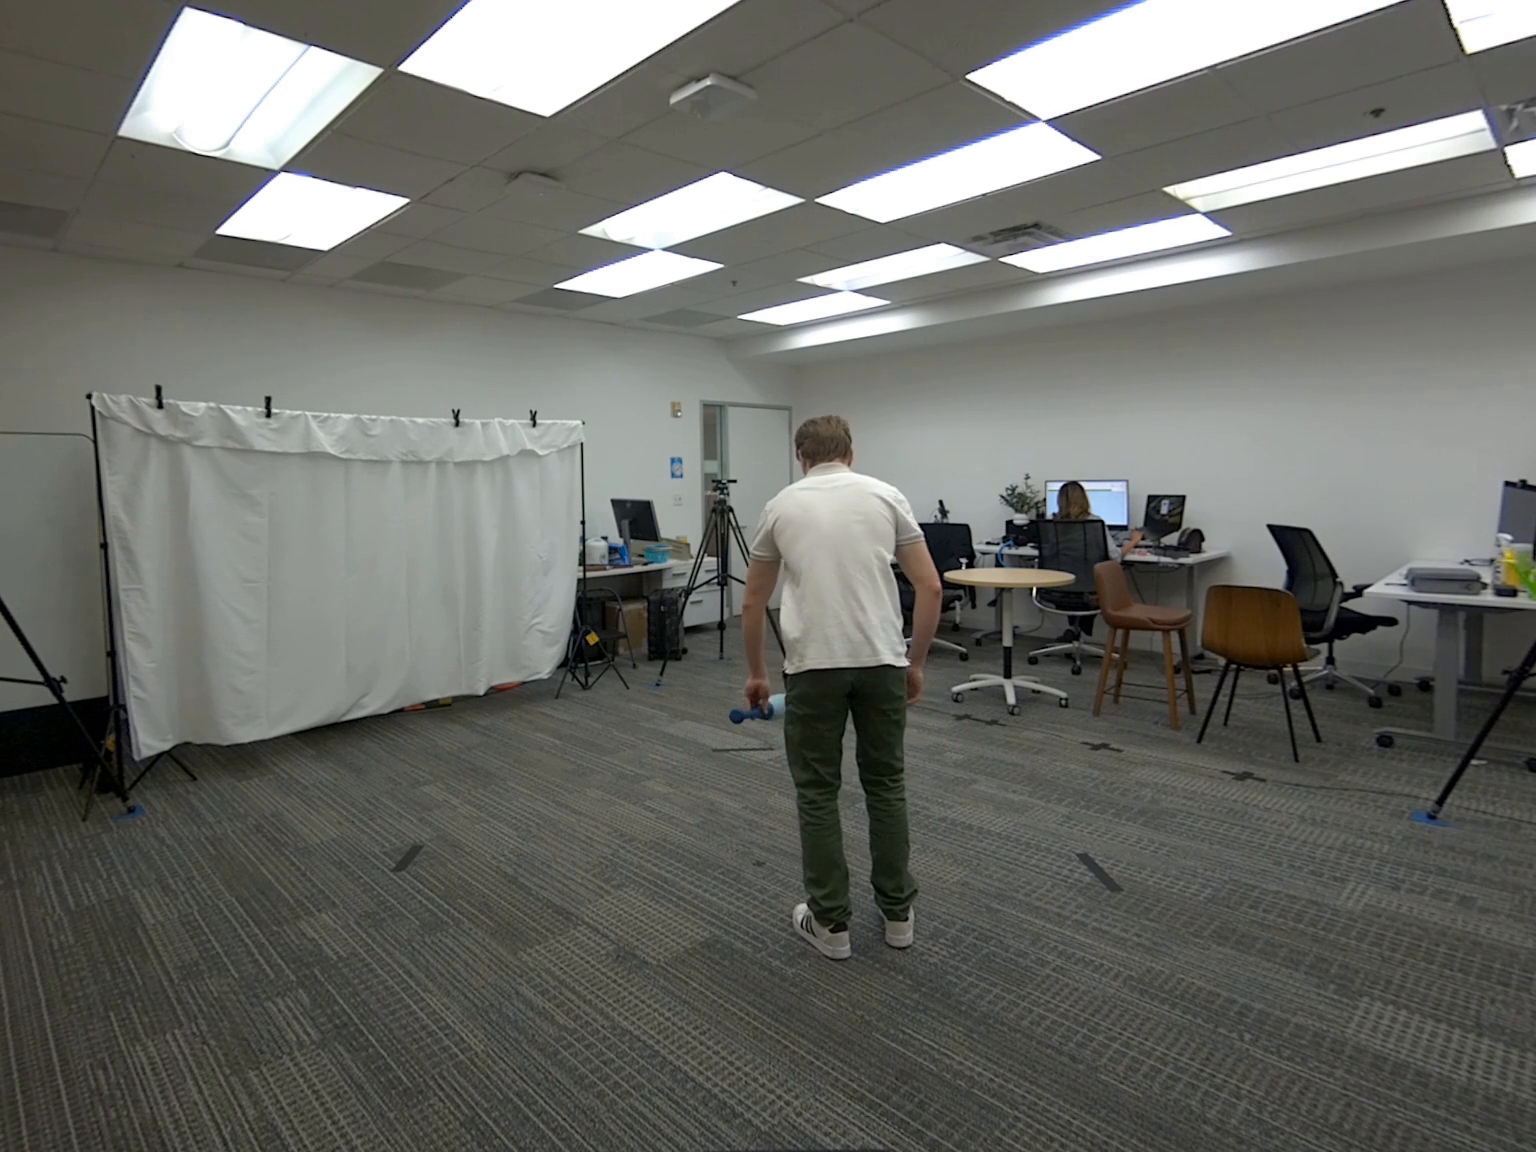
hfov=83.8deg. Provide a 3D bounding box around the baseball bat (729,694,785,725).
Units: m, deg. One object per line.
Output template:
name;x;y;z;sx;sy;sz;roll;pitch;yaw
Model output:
baseball bat;-0.011;0.468;2.903;0.091;0.089;0.531;1;-3;18
